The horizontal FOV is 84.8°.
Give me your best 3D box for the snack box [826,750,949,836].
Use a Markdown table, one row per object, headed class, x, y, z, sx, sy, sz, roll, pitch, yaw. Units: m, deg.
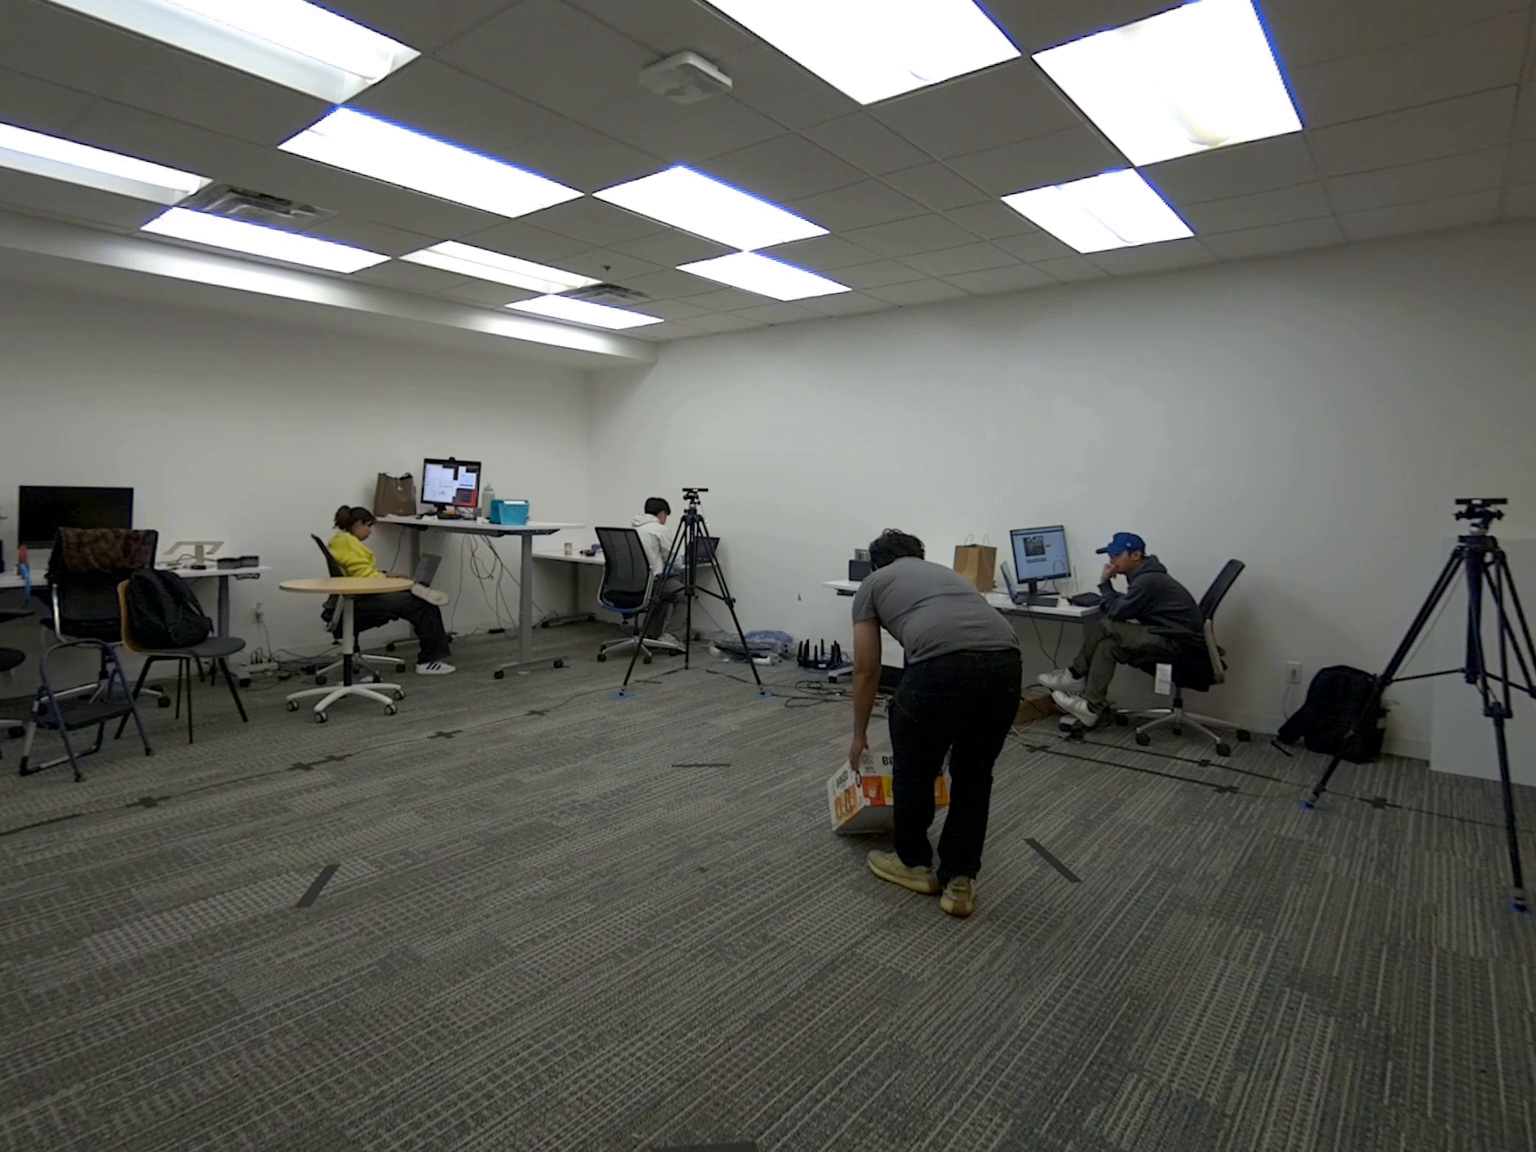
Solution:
| class | x | y | z | sx | sy | sz | roll | pitch | yaw |
| --- | --- | --- | --- | --- | --- | --- | --- | --- | --- |
| snack box | 0.459 | 0.858 | 3.379 | 0.336 | 0.211 | 0.399 | 3 | -32 | -12 |
